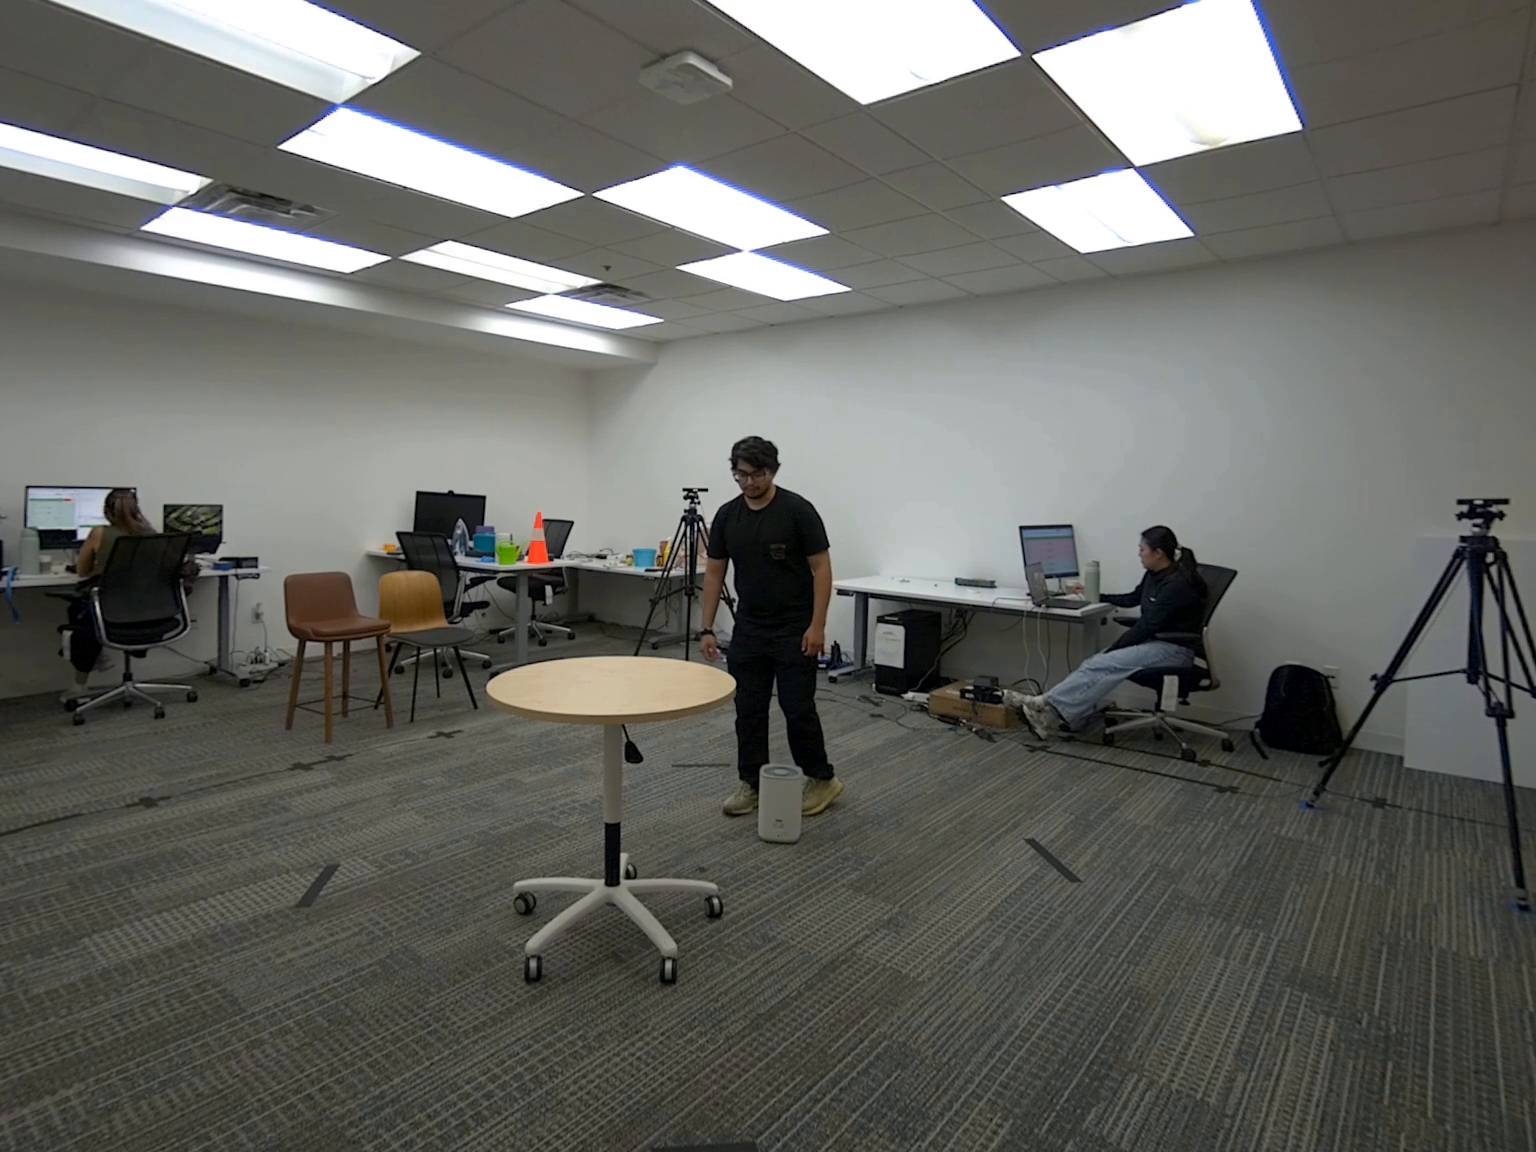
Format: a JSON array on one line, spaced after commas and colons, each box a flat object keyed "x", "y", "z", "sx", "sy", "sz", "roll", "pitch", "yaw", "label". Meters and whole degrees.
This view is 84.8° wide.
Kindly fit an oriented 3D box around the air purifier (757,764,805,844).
[{"x": 0.042, "y": 0.913, "z": 3.421, "sx": 0.170, "sy": 0.261, "sz": 0.173, "roll": 2, "pitch": 4, "yaw": 8, "label": "air purifier"}]
